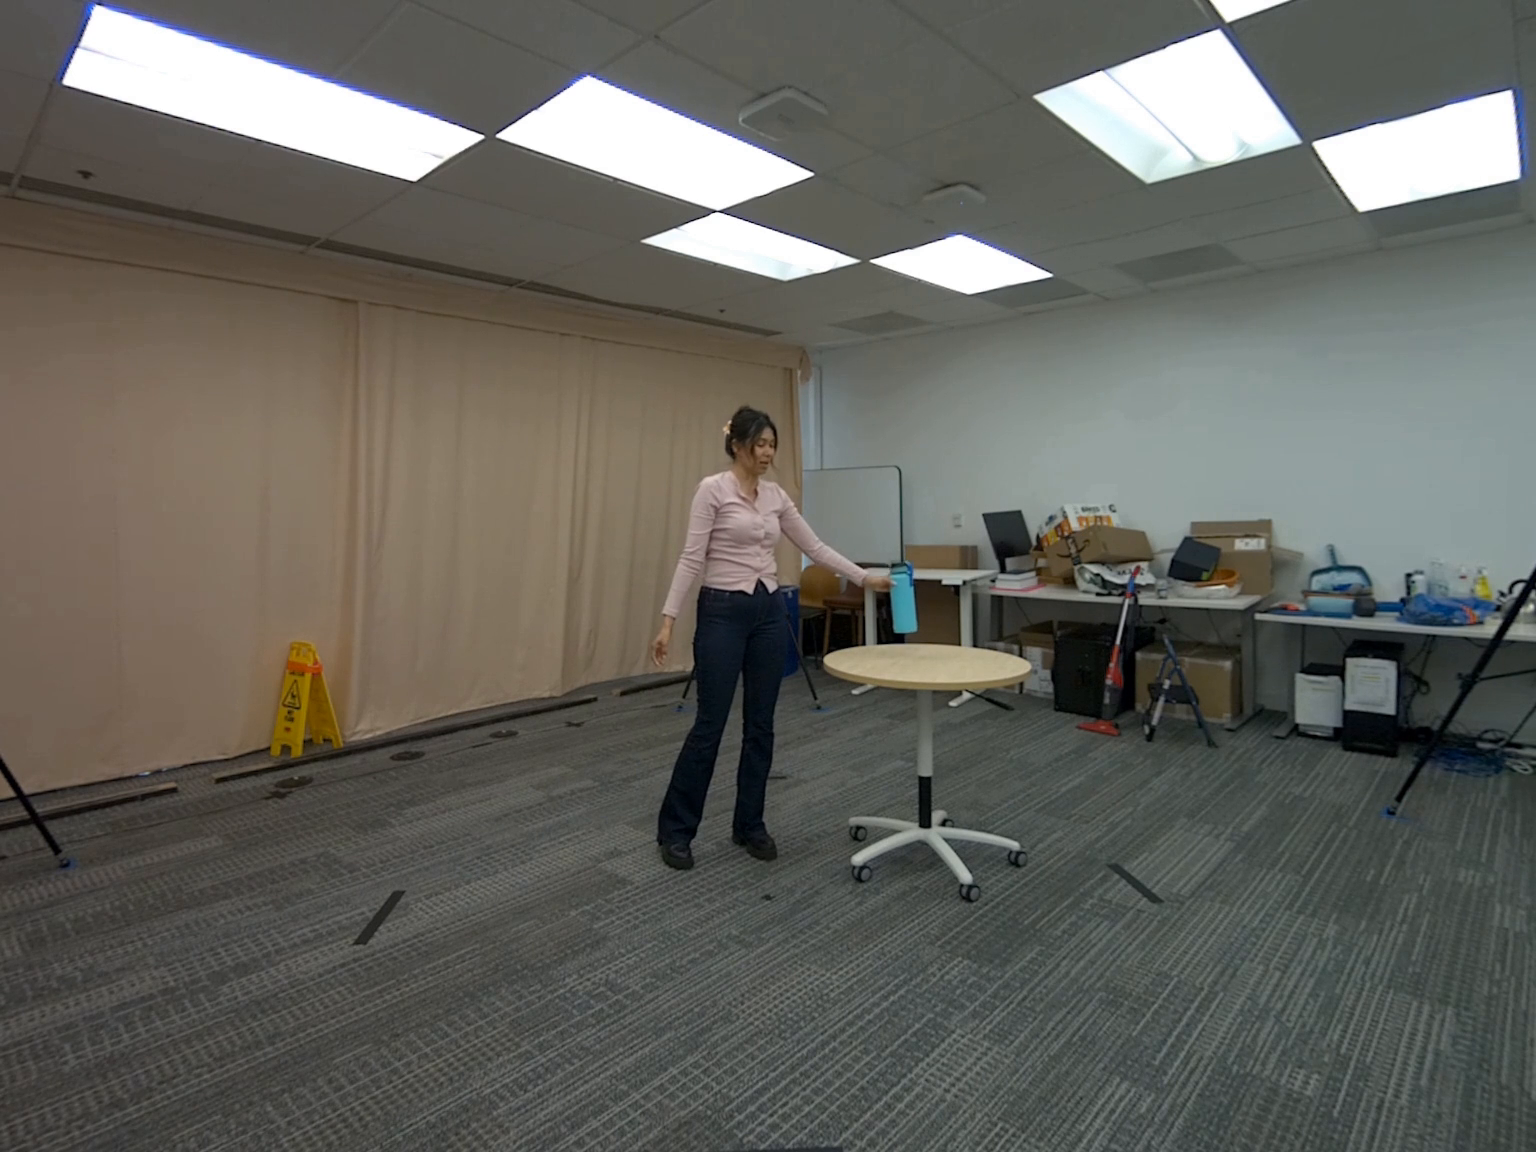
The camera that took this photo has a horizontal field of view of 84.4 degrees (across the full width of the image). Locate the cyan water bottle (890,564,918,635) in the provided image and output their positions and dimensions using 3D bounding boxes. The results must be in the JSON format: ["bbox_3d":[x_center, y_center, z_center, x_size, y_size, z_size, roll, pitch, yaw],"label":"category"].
[{"bbox_3d":[0.526,0.077,3.272,0.092,0.283,0.092,-4,3,-2],"label":"cyan water bottle"}]
